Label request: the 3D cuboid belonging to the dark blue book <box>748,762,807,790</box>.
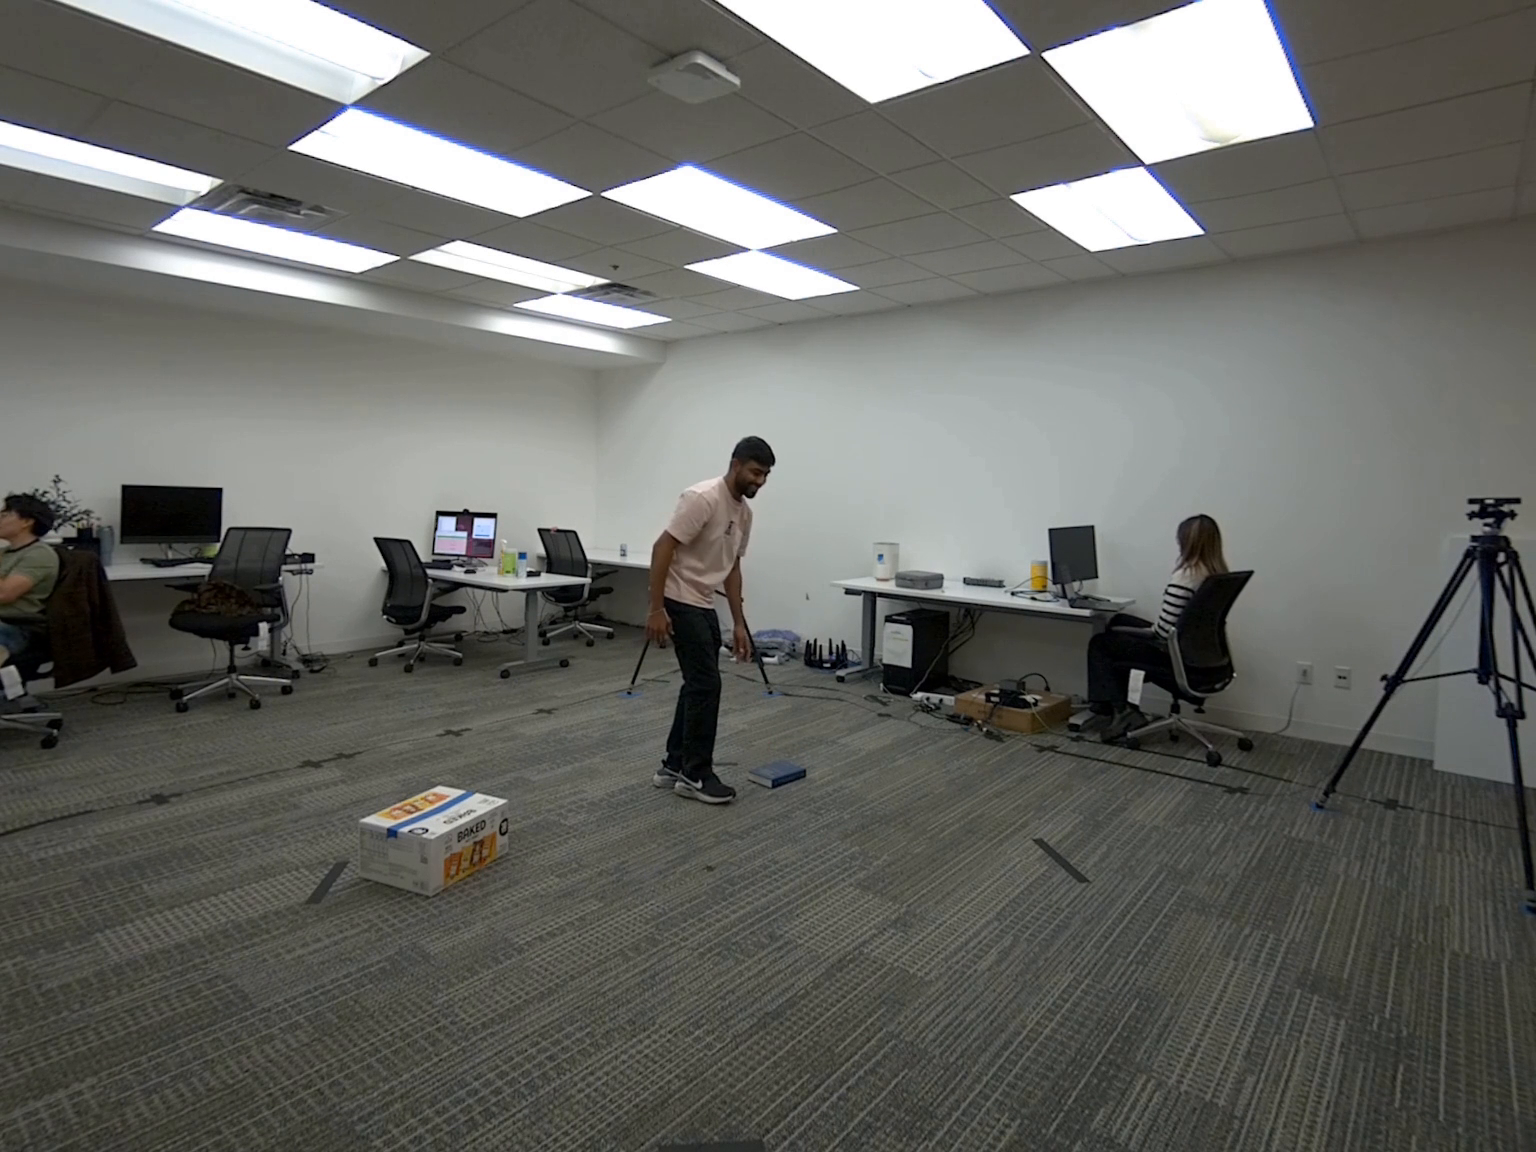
[{"bbox_3d":[0.033,0.955,4.098,0.238,0.045,0.169,-5,9,-45],"label":"dark blue book"}]
